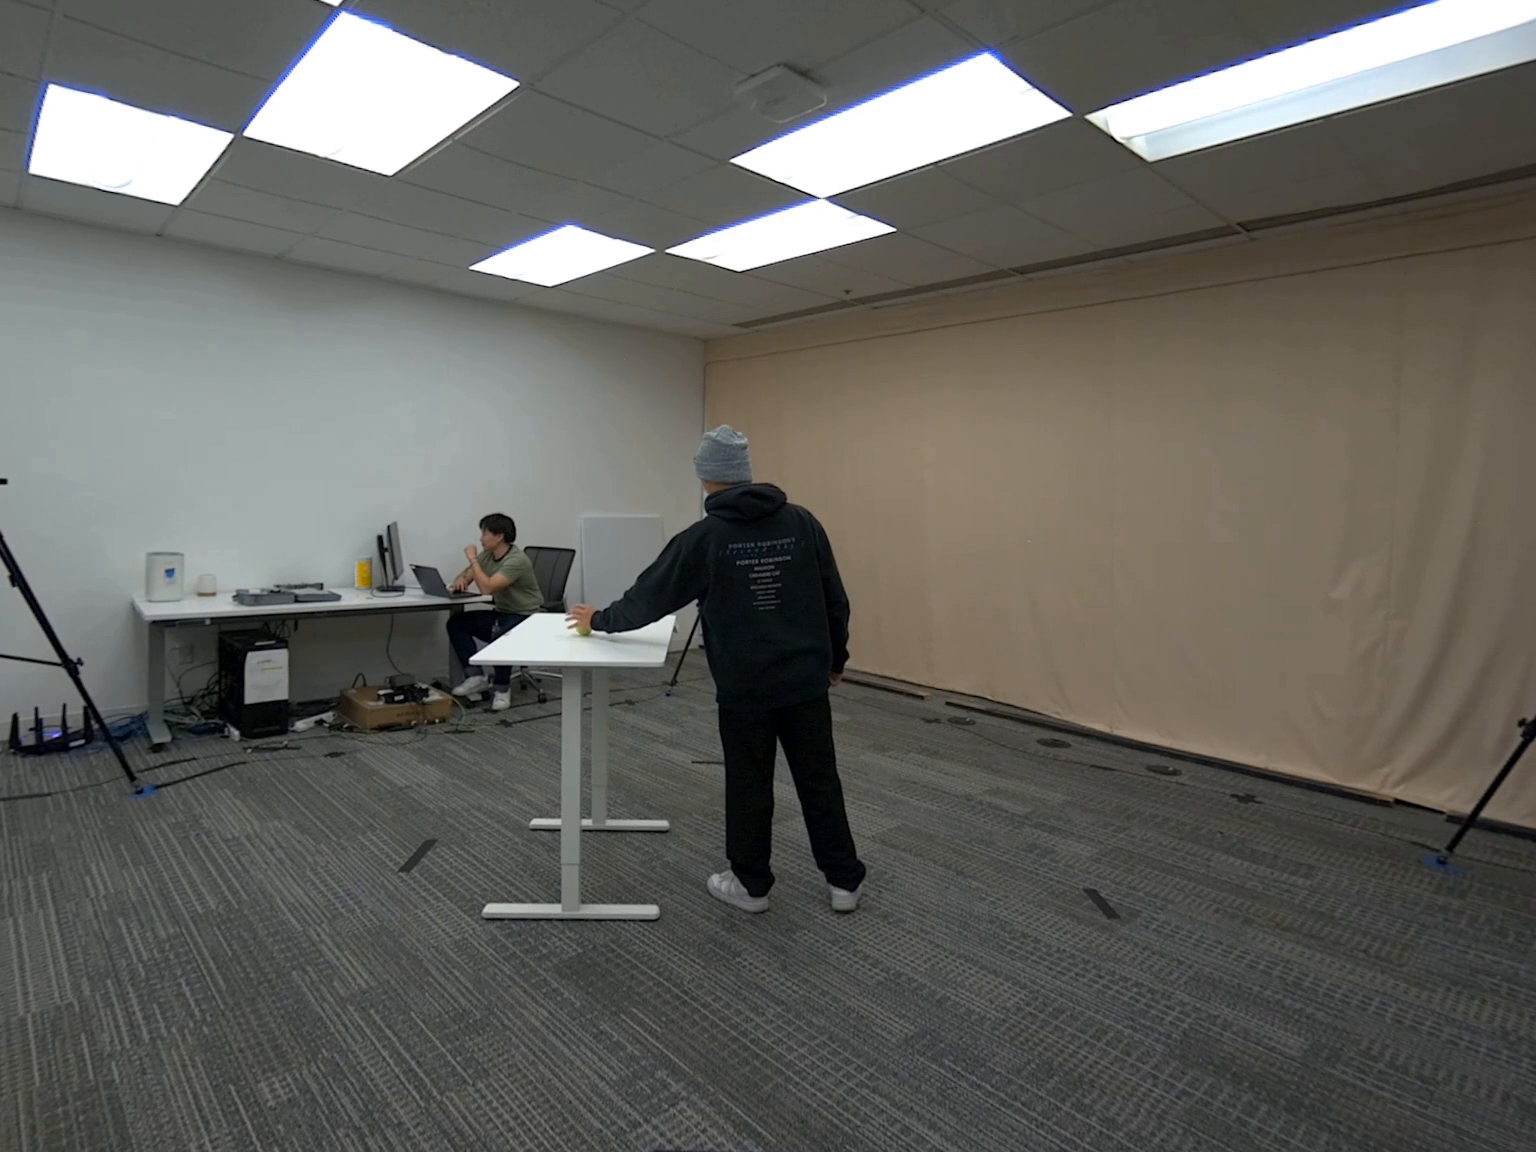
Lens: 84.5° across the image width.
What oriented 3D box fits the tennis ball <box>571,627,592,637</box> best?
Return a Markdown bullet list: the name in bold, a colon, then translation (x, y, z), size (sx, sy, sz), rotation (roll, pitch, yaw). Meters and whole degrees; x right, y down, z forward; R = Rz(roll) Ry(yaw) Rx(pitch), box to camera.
- **tennis ball**: translation (-0.658, 0.175, 3.060), size (0.066, 0.066, 0.067), rotation (1, 4, -1)
